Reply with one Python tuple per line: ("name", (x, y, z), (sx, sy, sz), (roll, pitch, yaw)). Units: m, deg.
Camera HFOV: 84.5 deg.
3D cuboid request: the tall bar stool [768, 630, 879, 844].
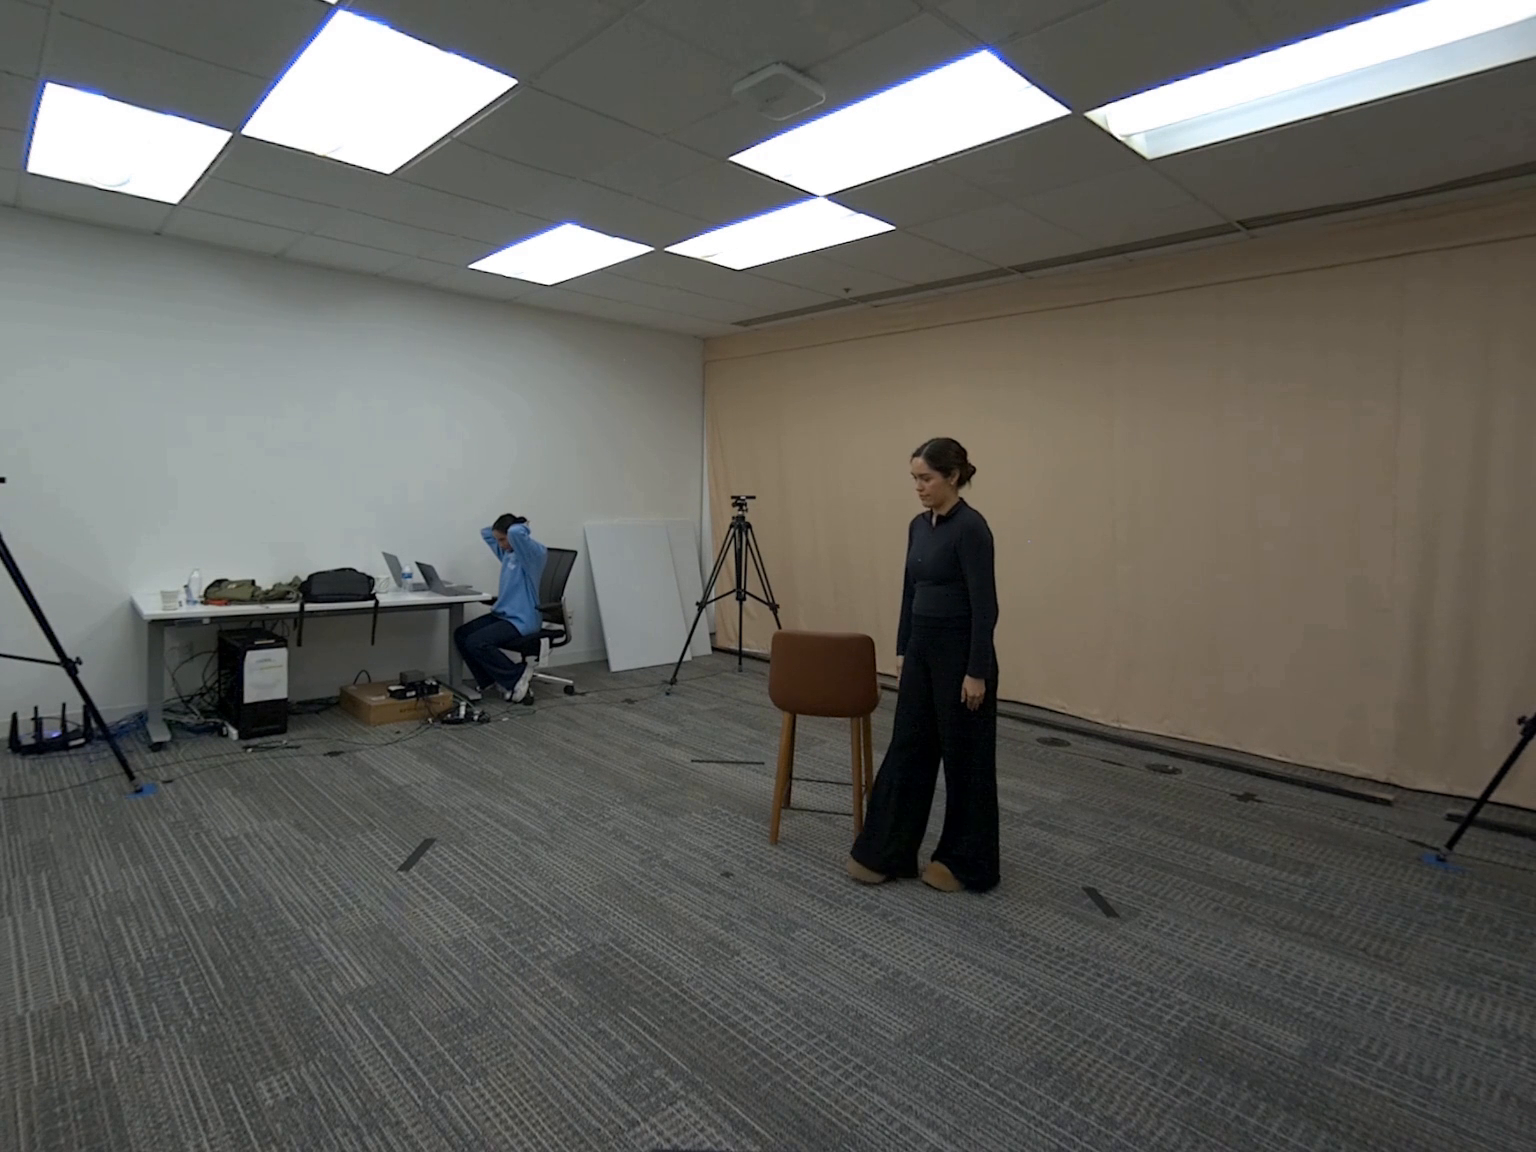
("tall bar stool", (0.234, 0.640, 3.542), (0.462, 0.887, 0.464), (2, 5, 13))
